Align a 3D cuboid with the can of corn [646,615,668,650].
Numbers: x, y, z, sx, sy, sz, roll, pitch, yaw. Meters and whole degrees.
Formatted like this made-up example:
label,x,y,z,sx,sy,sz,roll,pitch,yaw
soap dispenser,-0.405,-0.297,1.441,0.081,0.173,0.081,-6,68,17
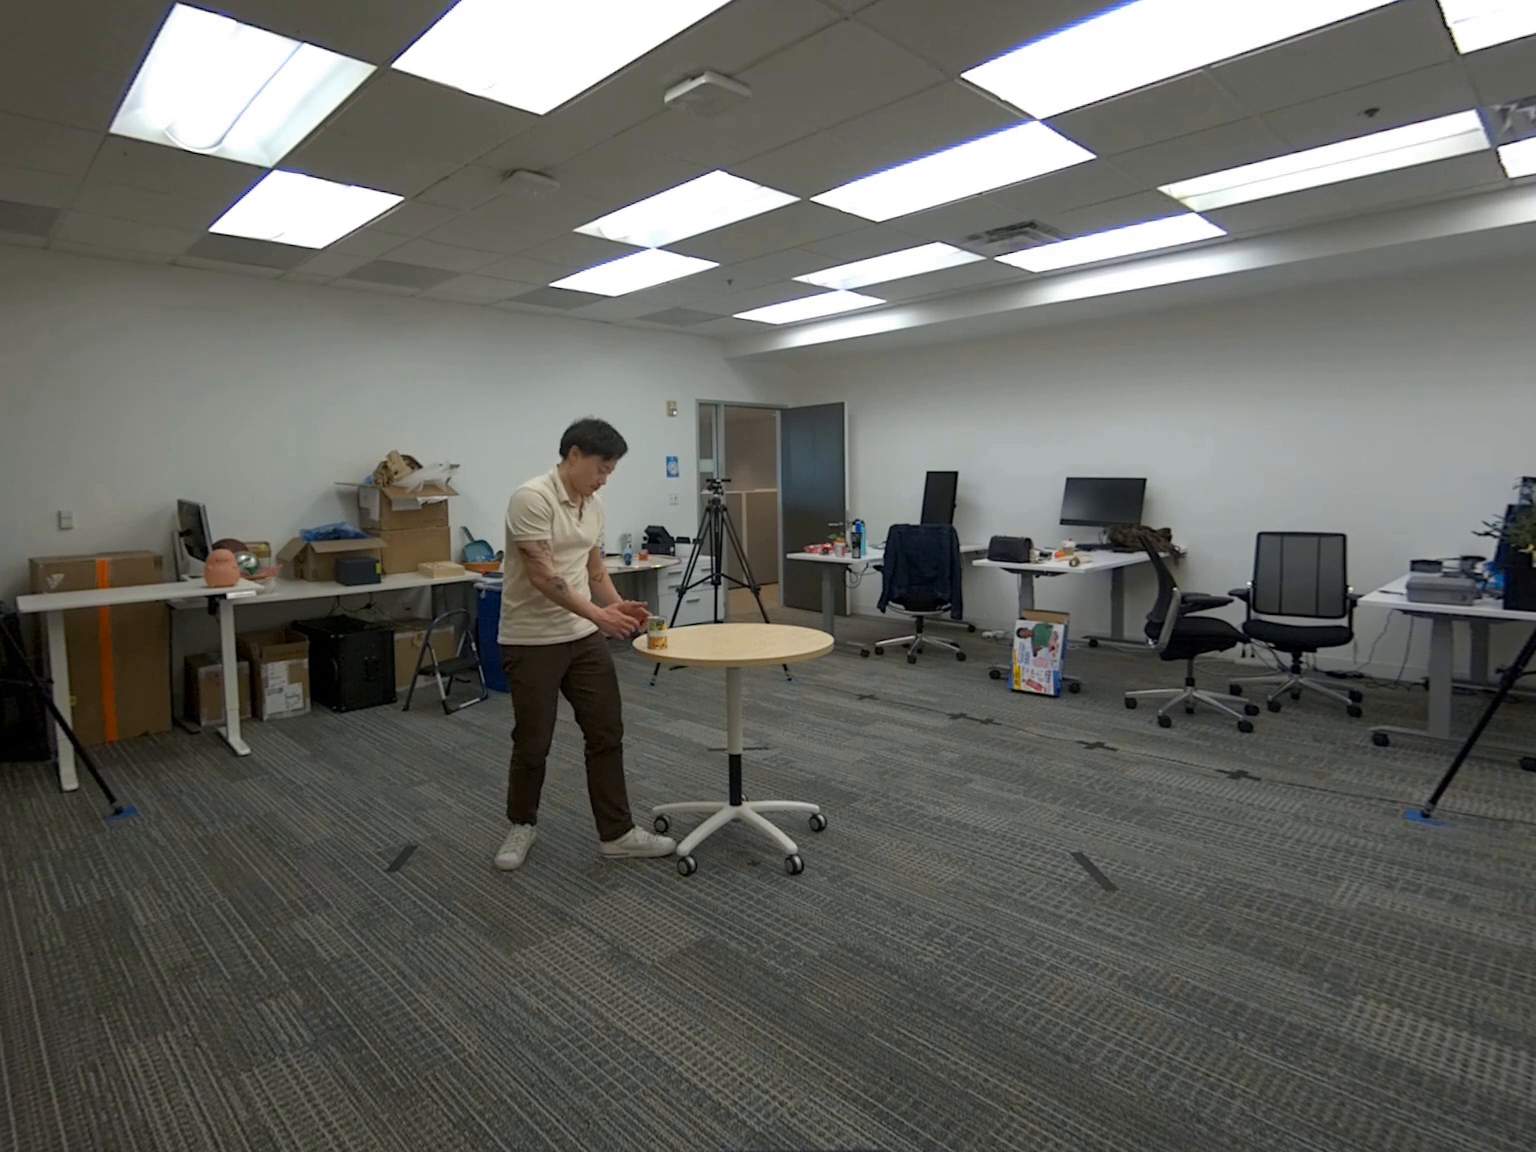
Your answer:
label,x,y,z,sx,sy,sz,roll,pitch,yaw
can of corn,-0.407,0.208,3.124,0.074,0.110,0.075,-3,6,-1
